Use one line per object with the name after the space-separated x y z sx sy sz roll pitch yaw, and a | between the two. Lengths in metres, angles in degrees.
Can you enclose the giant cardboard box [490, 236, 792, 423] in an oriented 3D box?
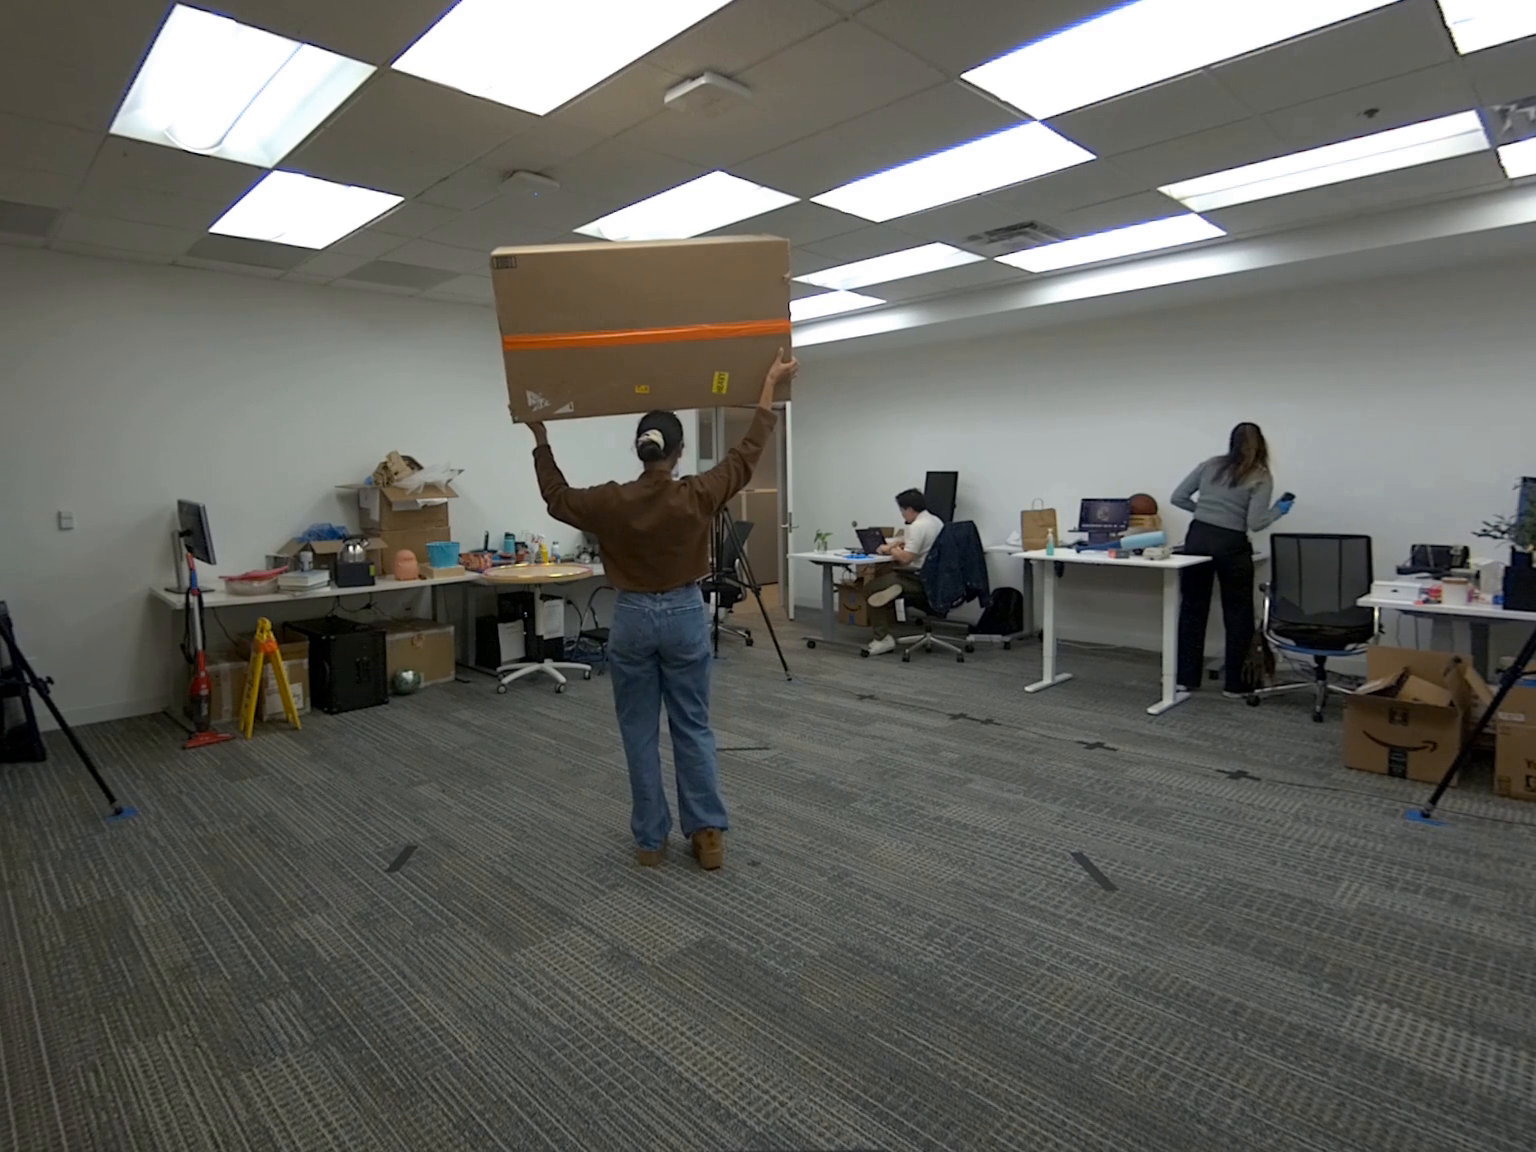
-0.459 -0.938 3.176 1.019 0.566 0.438 -6 24 -8 | giant cardboard box
